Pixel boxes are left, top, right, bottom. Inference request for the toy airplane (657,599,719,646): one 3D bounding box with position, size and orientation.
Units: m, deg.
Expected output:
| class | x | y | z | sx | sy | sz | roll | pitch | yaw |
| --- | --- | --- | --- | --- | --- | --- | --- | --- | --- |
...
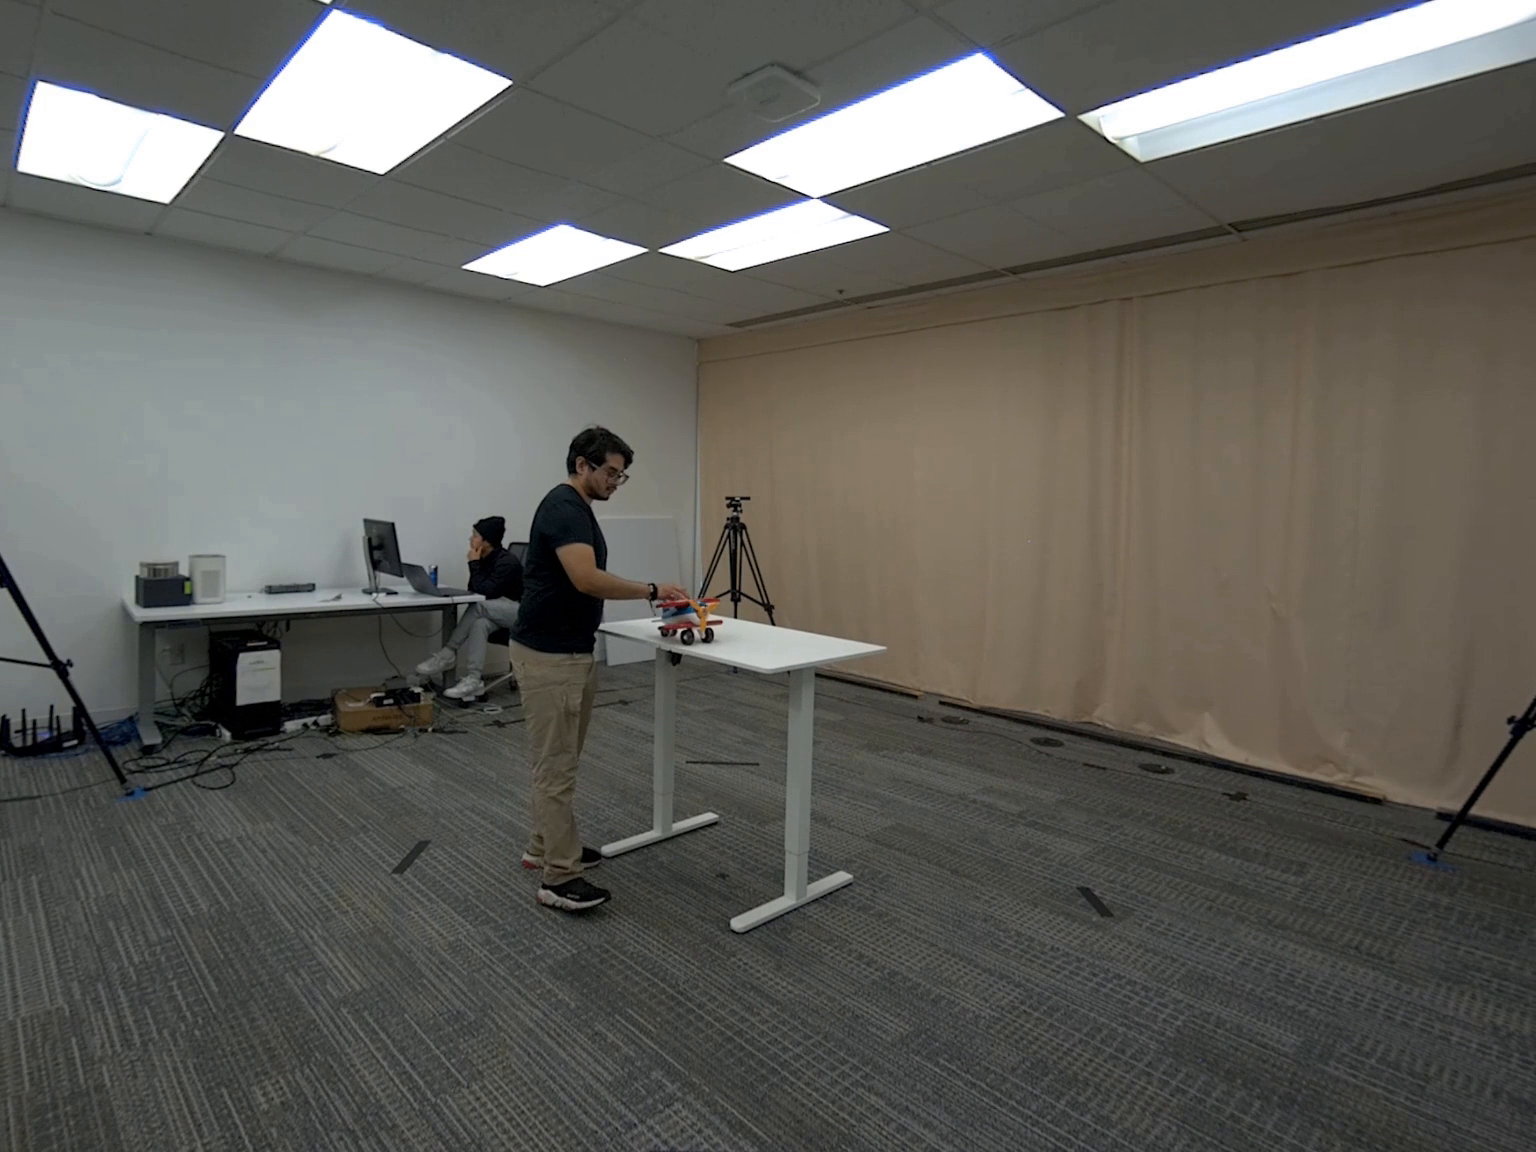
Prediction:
| class | x | y | z | sx | sy | sz | roll | pitch | yaw |
| --- | --- | --- | --- | --- | --- | --- | --- | --- | --- |
| toy airplane | -0.319 | 0.154 | 2.979 | 0.264 | 0.156 | 0.247 | 5 | 5 | 22 |
